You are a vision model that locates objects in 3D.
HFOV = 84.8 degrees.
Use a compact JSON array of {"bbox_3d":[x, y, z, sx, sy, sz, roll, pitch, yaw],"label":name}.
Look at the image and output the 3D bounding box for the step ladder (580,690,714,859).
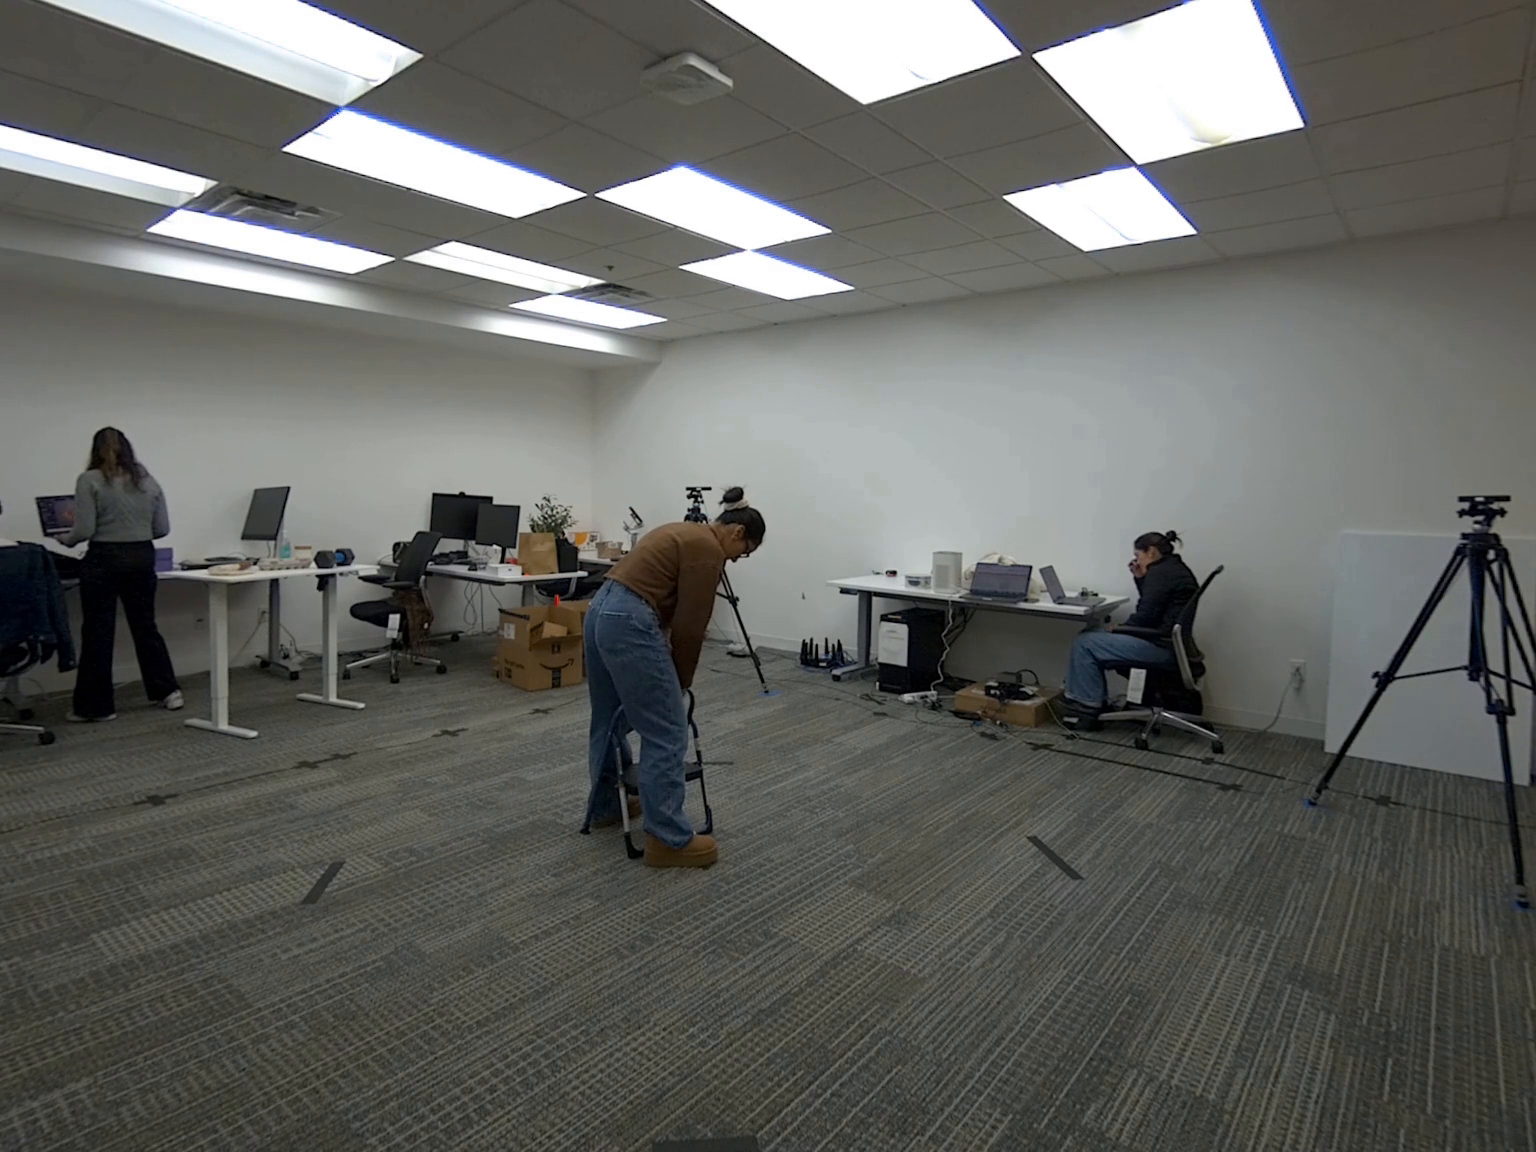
[{"bbox_3d":[-0.488,0.731,3.416,0.417,0.604,0.361,-3,5,-44],"label":"step ladder"}]
